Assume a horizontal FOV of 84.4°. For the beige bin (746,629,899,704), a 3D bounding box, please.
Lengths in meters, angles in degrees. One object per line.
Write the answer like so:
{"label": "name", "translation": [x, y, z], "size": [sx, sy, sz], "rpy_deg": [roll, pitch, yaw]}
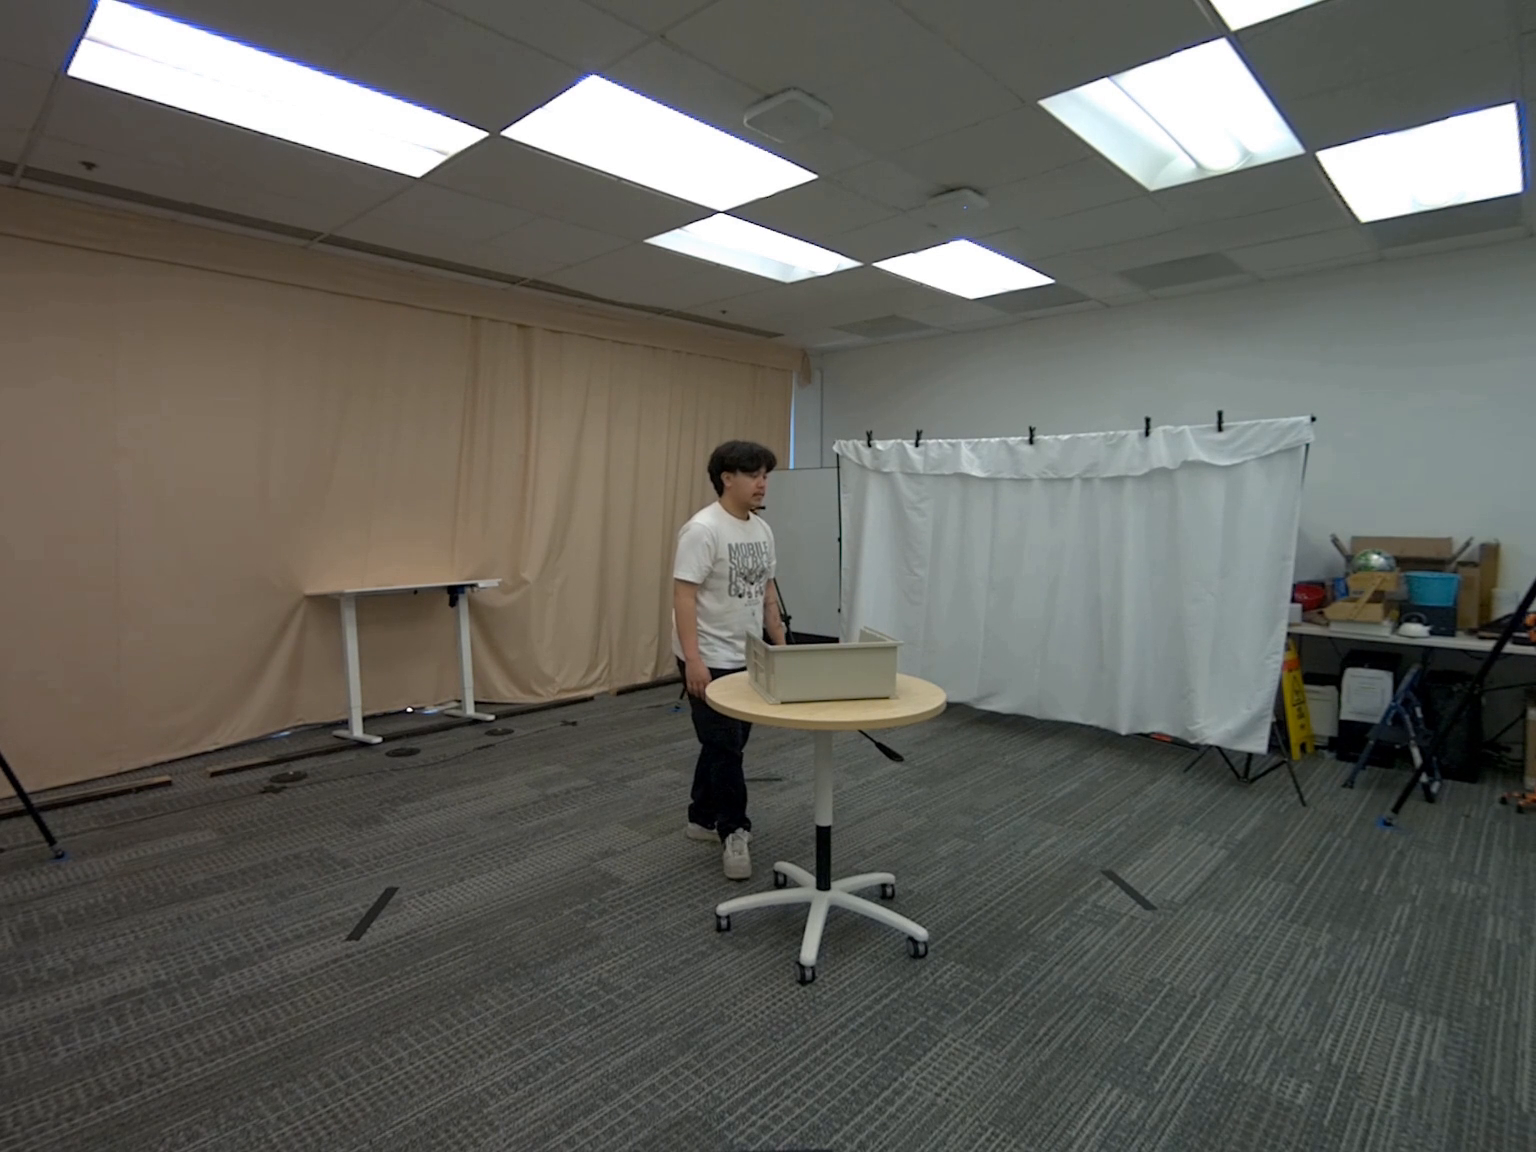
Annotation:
{"label": "beige bin", "translation": [0.170, 0.278, 2.729], "size": [0.417, 0.188, 0.383], "rpy_deg": [-1, 6, -12]}
